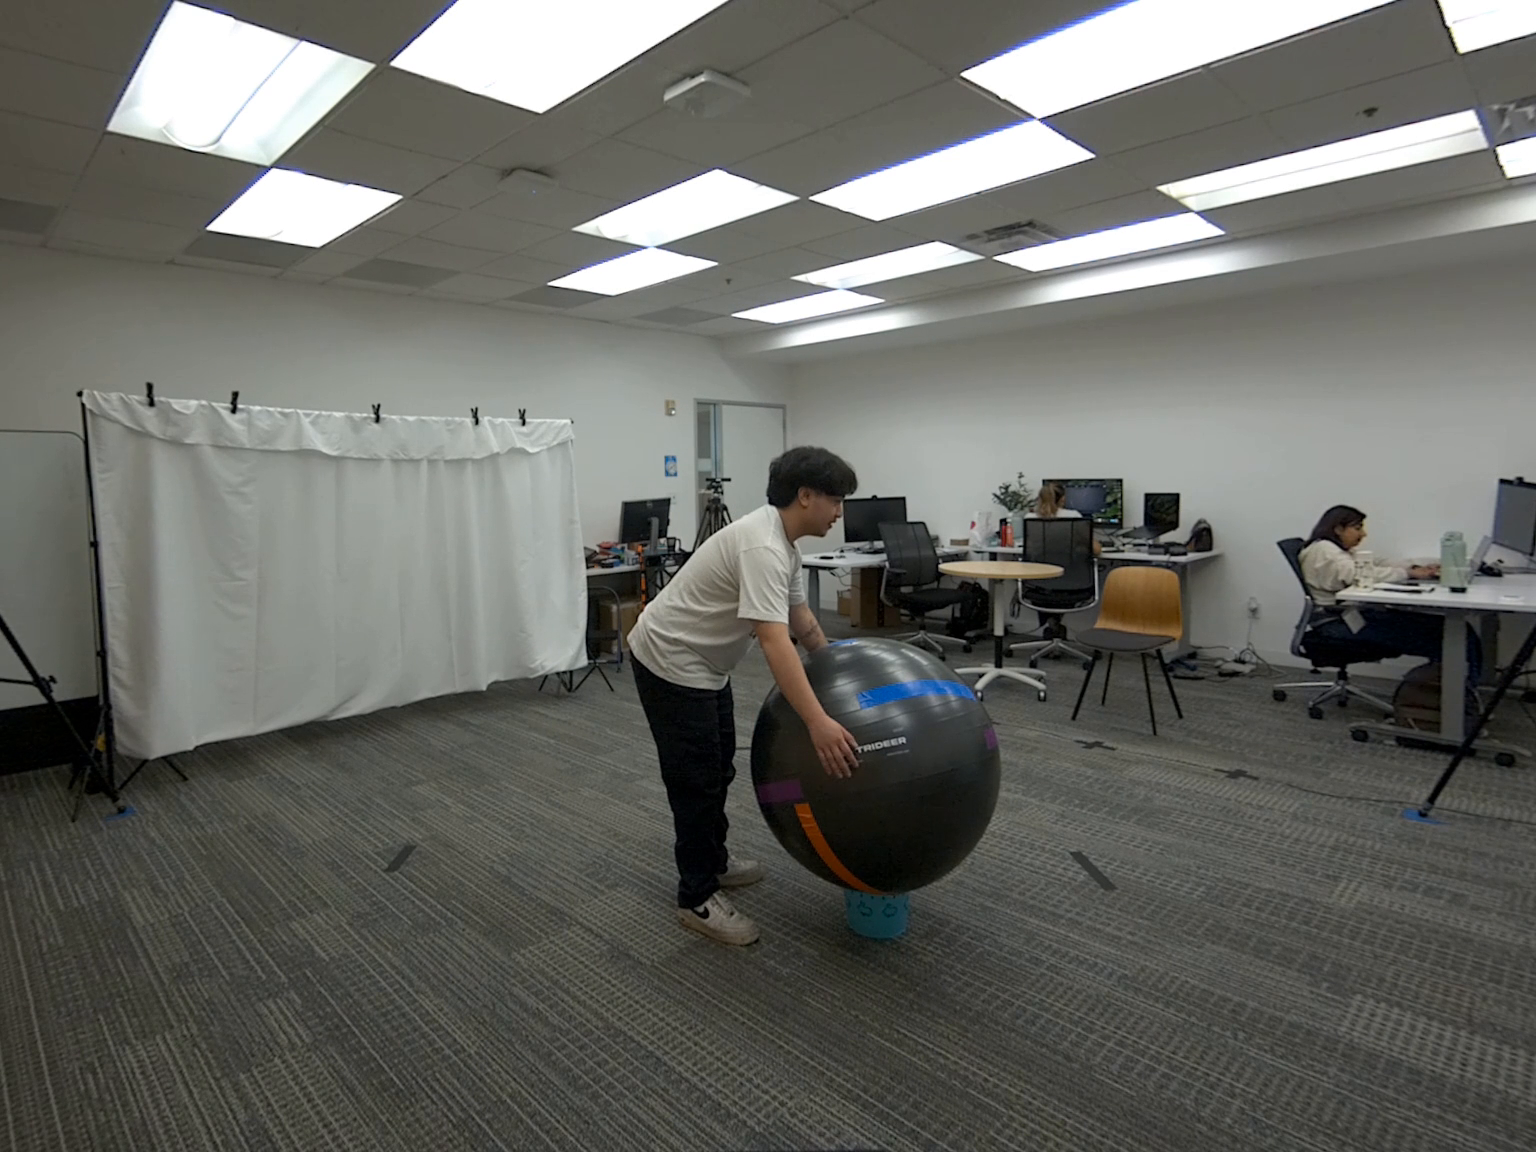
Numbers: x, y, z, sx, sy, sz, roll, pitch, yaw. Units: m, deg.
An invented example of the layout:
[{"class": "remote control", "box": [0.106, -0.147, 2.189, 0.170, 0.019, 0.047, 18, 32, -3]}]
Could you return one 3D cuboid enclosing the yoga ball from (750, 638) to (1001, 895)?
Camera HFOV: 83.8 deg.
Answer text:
[{"class": "yoga ball", "box": [0.326, 0.575, 2.636, 0.757, 0.755, 0.762, -1, 5, -2]}]
